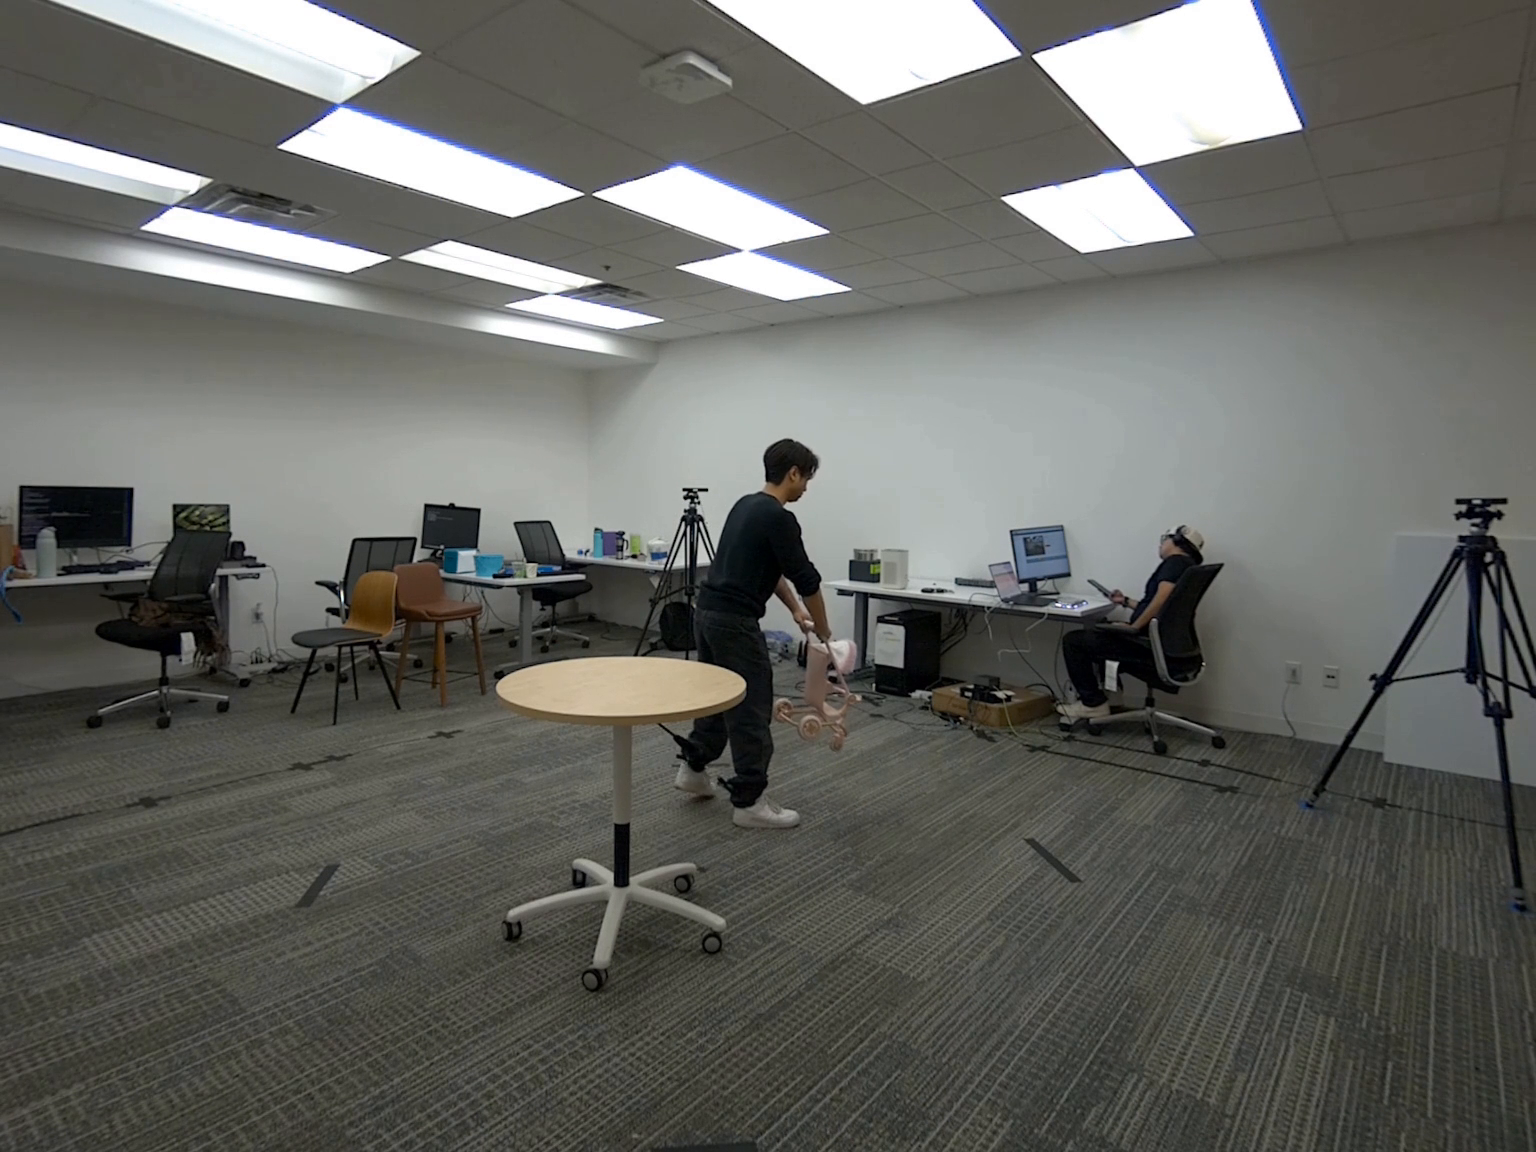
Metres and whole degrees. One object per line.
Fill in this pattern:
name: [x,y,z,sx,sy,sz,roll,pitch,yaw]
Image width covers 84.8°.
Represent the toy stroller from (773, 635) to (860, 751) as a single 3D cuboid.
toy stroller: [0.244,0.503,3.758,0.332,0.535,0.289,15,0,-22]
